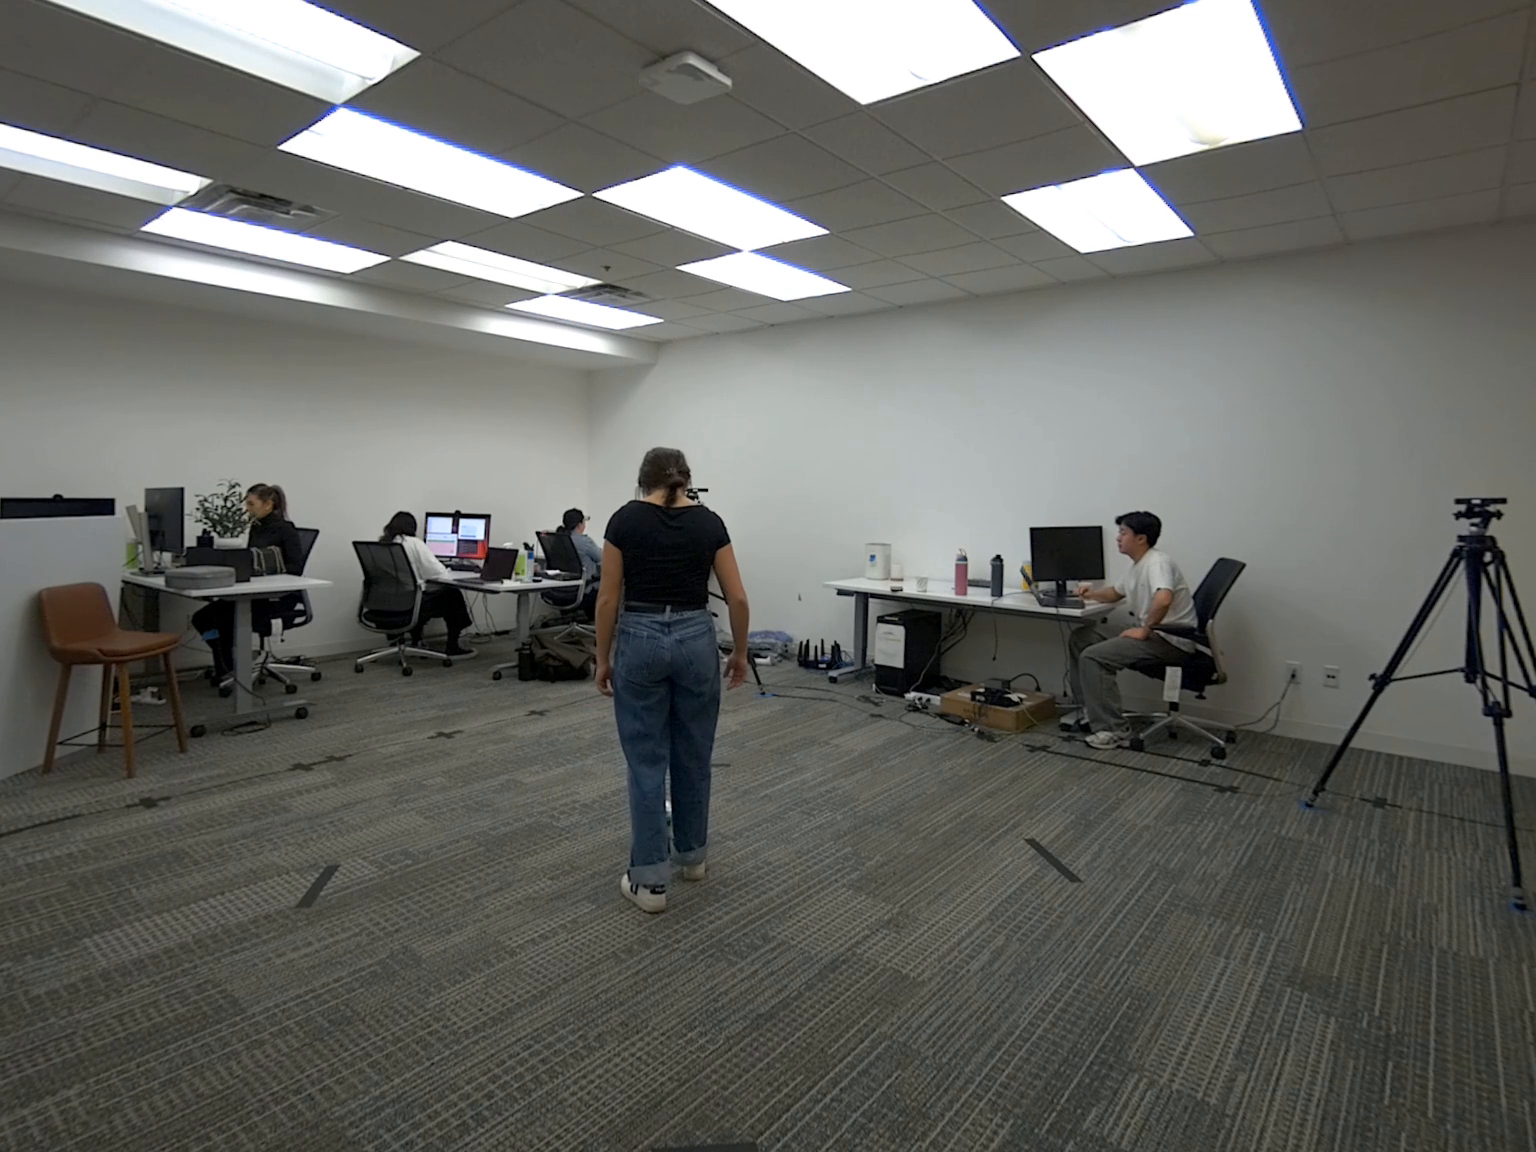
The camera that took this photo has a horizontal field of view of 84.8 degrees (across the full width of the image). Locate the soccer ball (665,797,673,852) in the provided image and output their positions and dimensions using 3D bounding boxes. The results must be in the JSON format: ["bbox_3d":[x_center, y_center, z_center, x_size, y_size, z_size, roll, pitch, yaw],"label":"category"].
[{"bbox_3d":[-0.395,0.945,3.302,0.187,0.187,0.188,1,4,-2],"label":"soccer ball"}]
